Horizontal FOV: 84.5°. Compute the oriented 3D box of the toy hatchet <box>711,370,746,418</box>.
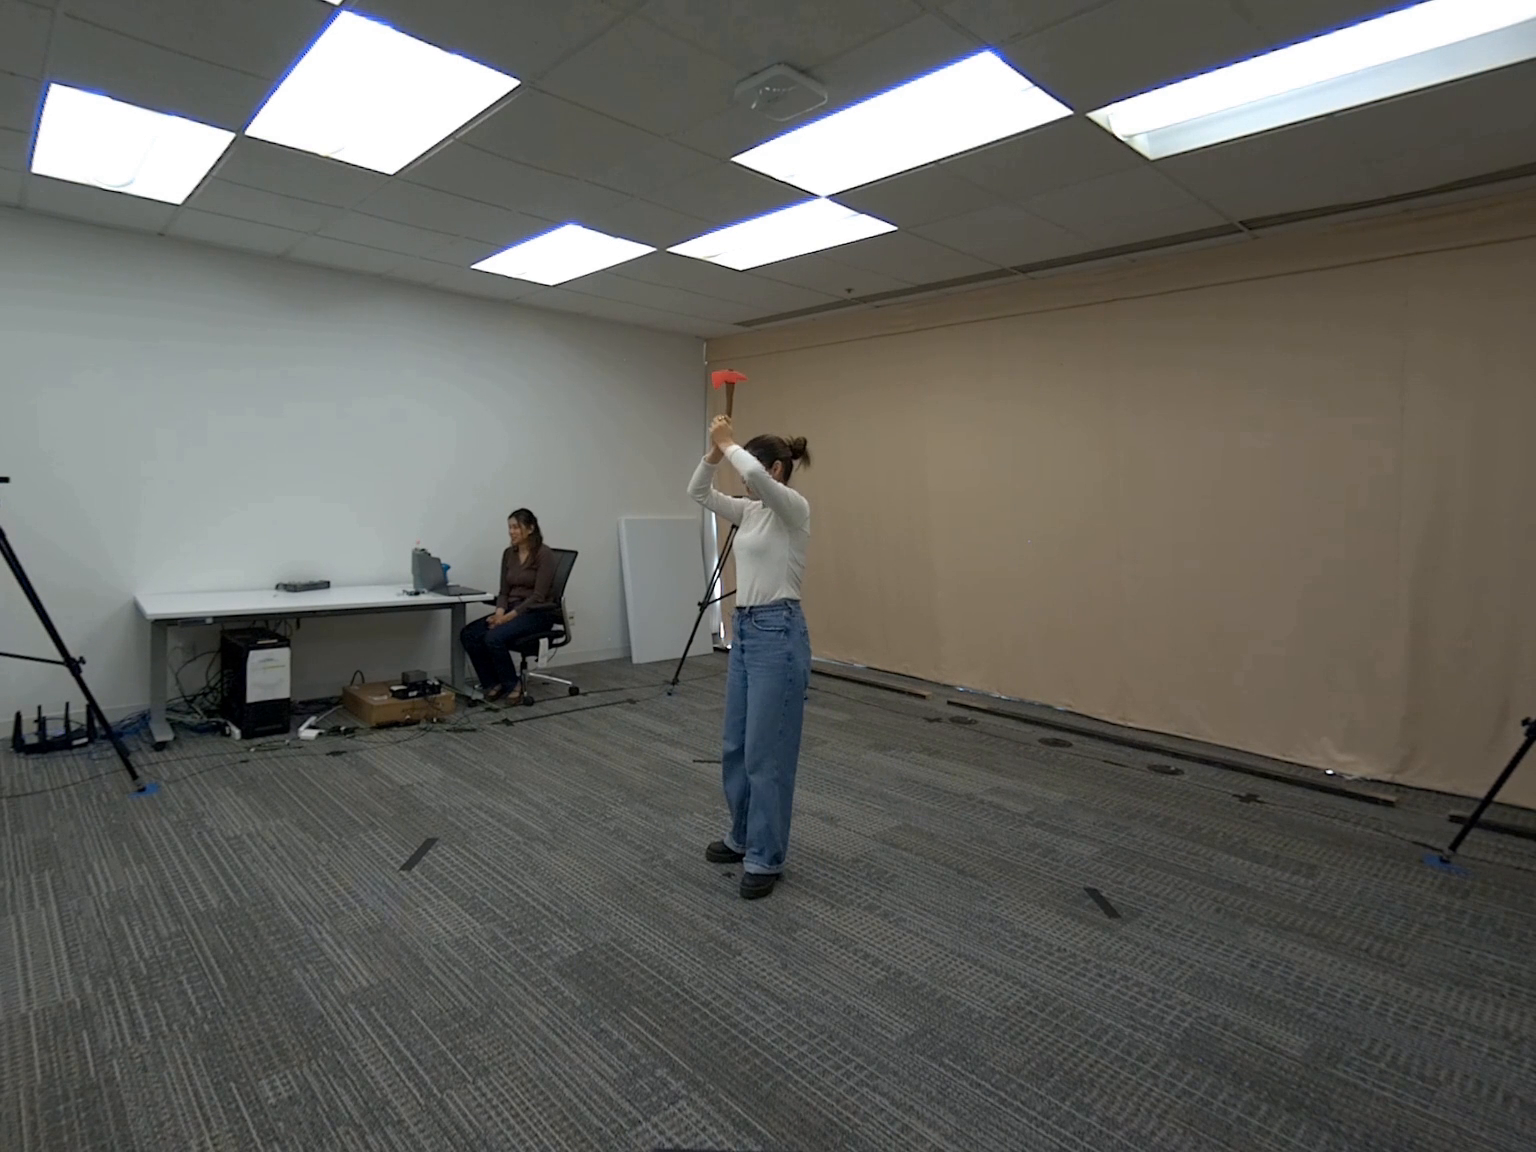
[{"bbox_3d":[-0.175,-0.632,3.047,0.129,0.271,0.030,22,-10,-17],"label":"toy hatchet"}]
